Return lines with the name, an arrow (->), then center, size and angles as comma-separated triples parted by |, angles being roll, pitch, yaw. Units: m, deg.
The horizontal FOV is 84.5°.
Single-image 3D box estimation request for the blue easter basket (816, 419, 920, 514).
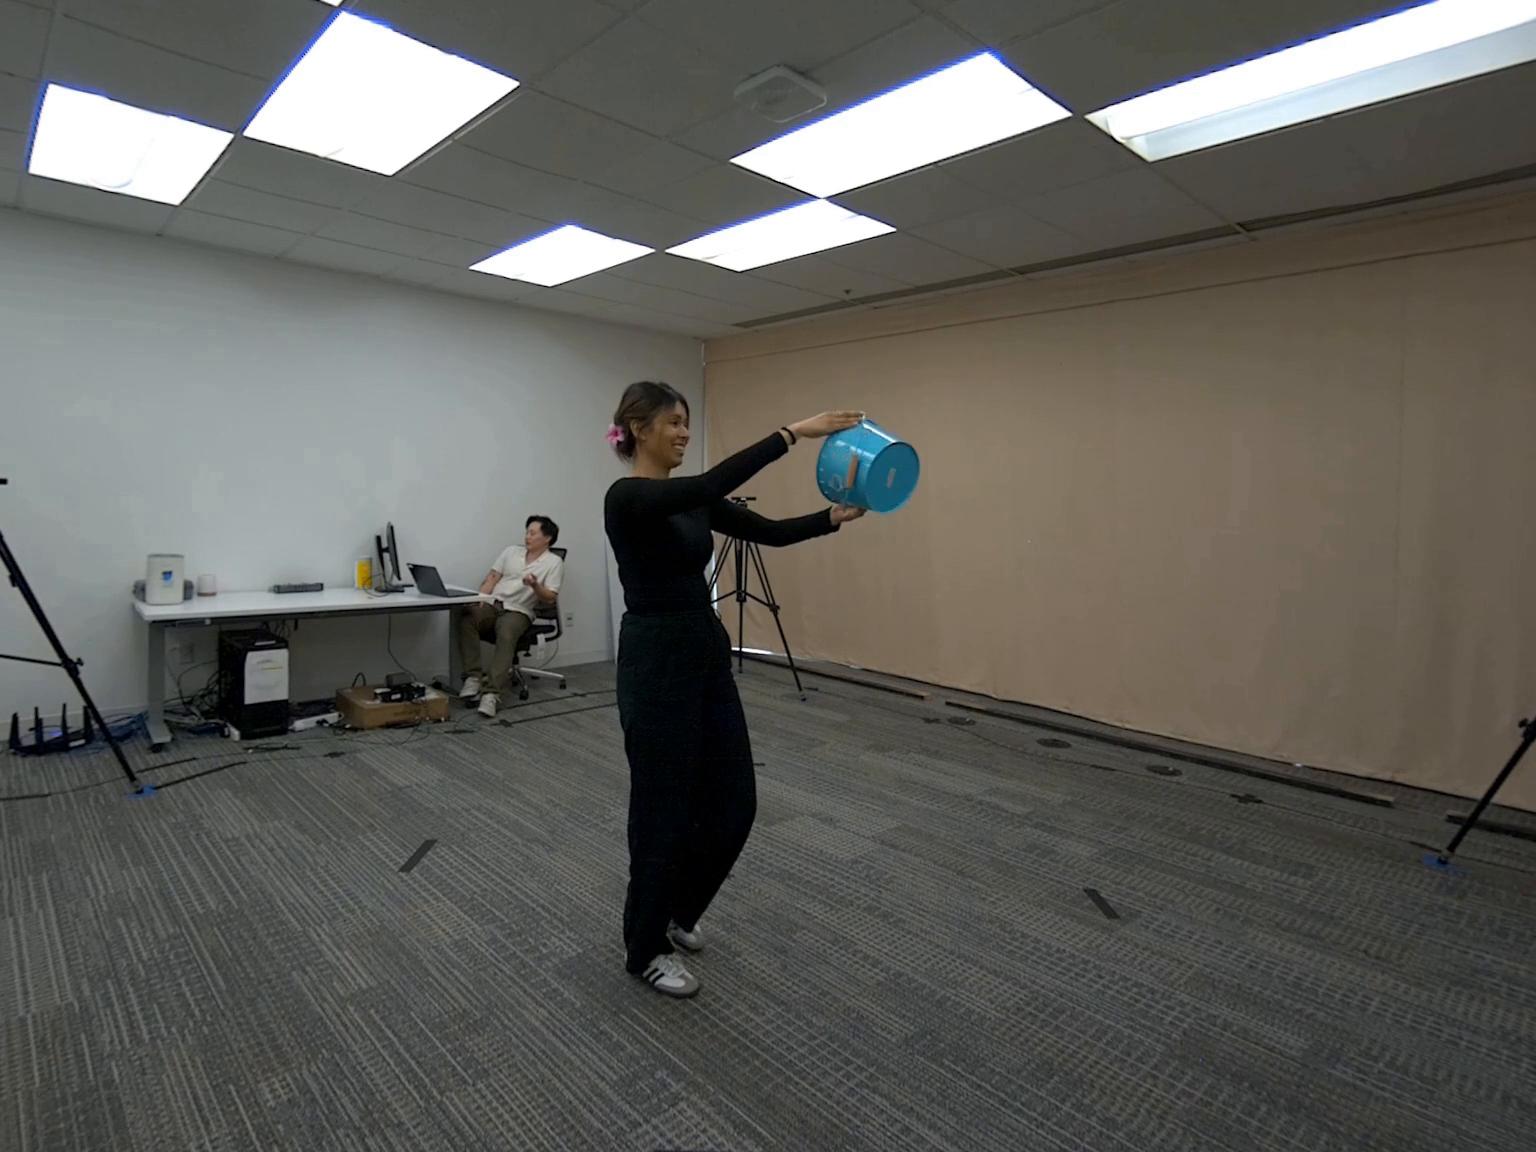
blue easter basket -> 0.238, -0.264, 2.088 | 0.238, 0.241, 0.161 | -1, 21, -34
